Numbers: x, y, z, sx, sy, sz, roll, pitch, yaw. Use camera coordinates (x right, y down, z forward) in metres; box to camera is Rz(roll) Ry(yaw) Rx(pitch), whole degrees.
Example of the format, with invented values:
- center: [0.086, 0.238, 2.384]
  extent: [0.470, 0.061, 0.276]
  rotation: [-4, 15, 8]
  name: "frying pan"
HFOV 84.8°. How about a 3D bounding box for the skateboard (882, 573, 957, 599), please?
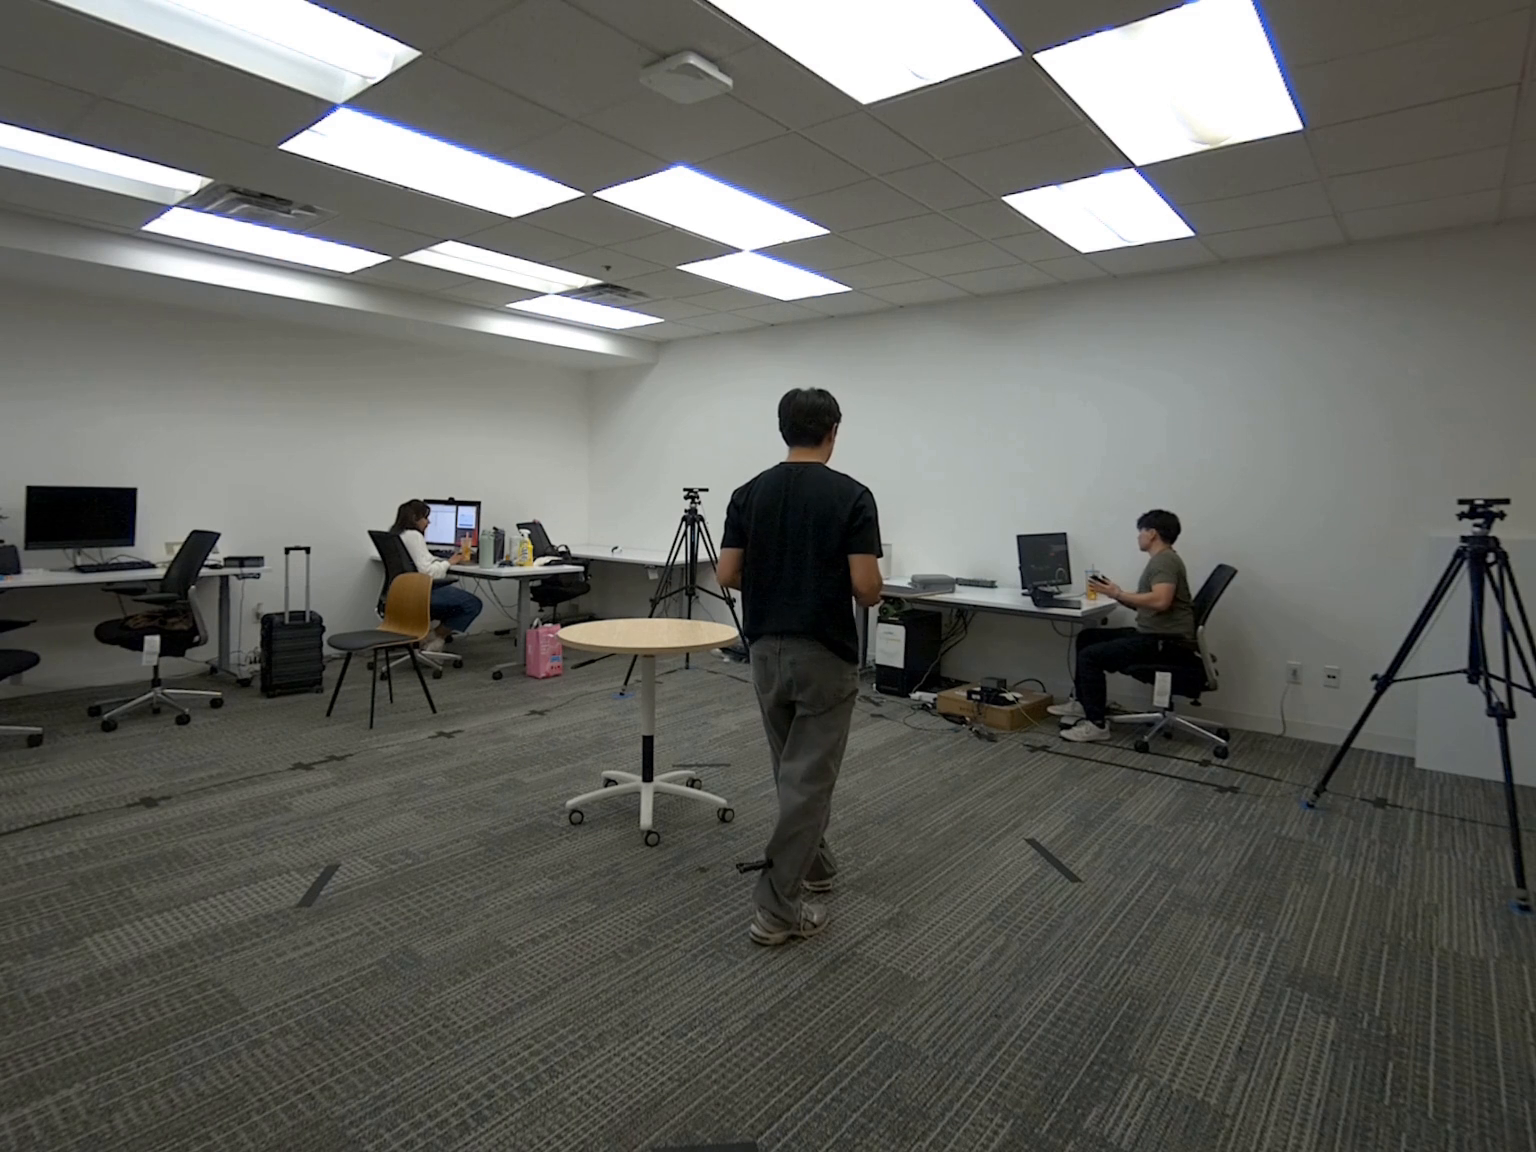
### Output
- center: [0.238, 0.053, 3.027]
  extent: [0.809, 0.110, 0.189]
  rotation: [5, 9, 30]
  name: "skateboard"
